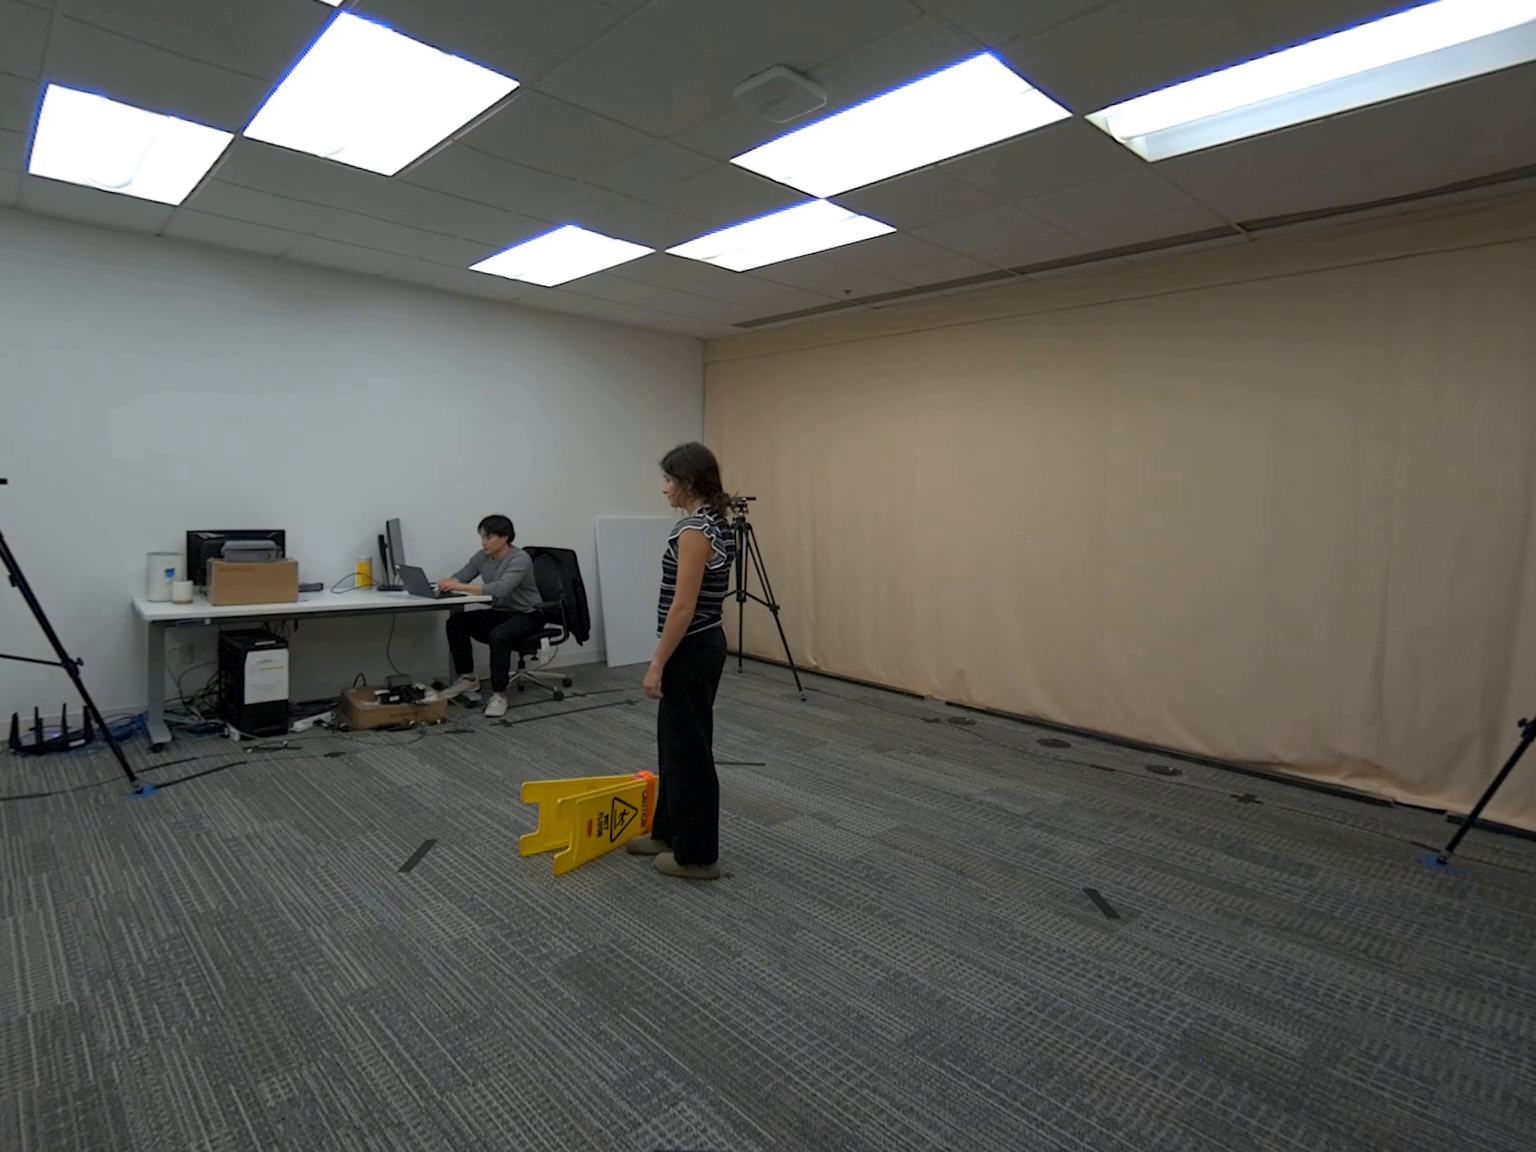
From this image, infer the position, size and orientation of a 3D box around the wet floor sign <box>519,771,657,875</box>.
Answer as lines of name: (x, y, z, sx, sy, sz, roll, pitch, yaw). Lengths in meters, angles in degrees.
wet floor sign: (-0.655, 0.947, 3.379, 0.297, 0.282, 0.630, 4, 2, 43)
